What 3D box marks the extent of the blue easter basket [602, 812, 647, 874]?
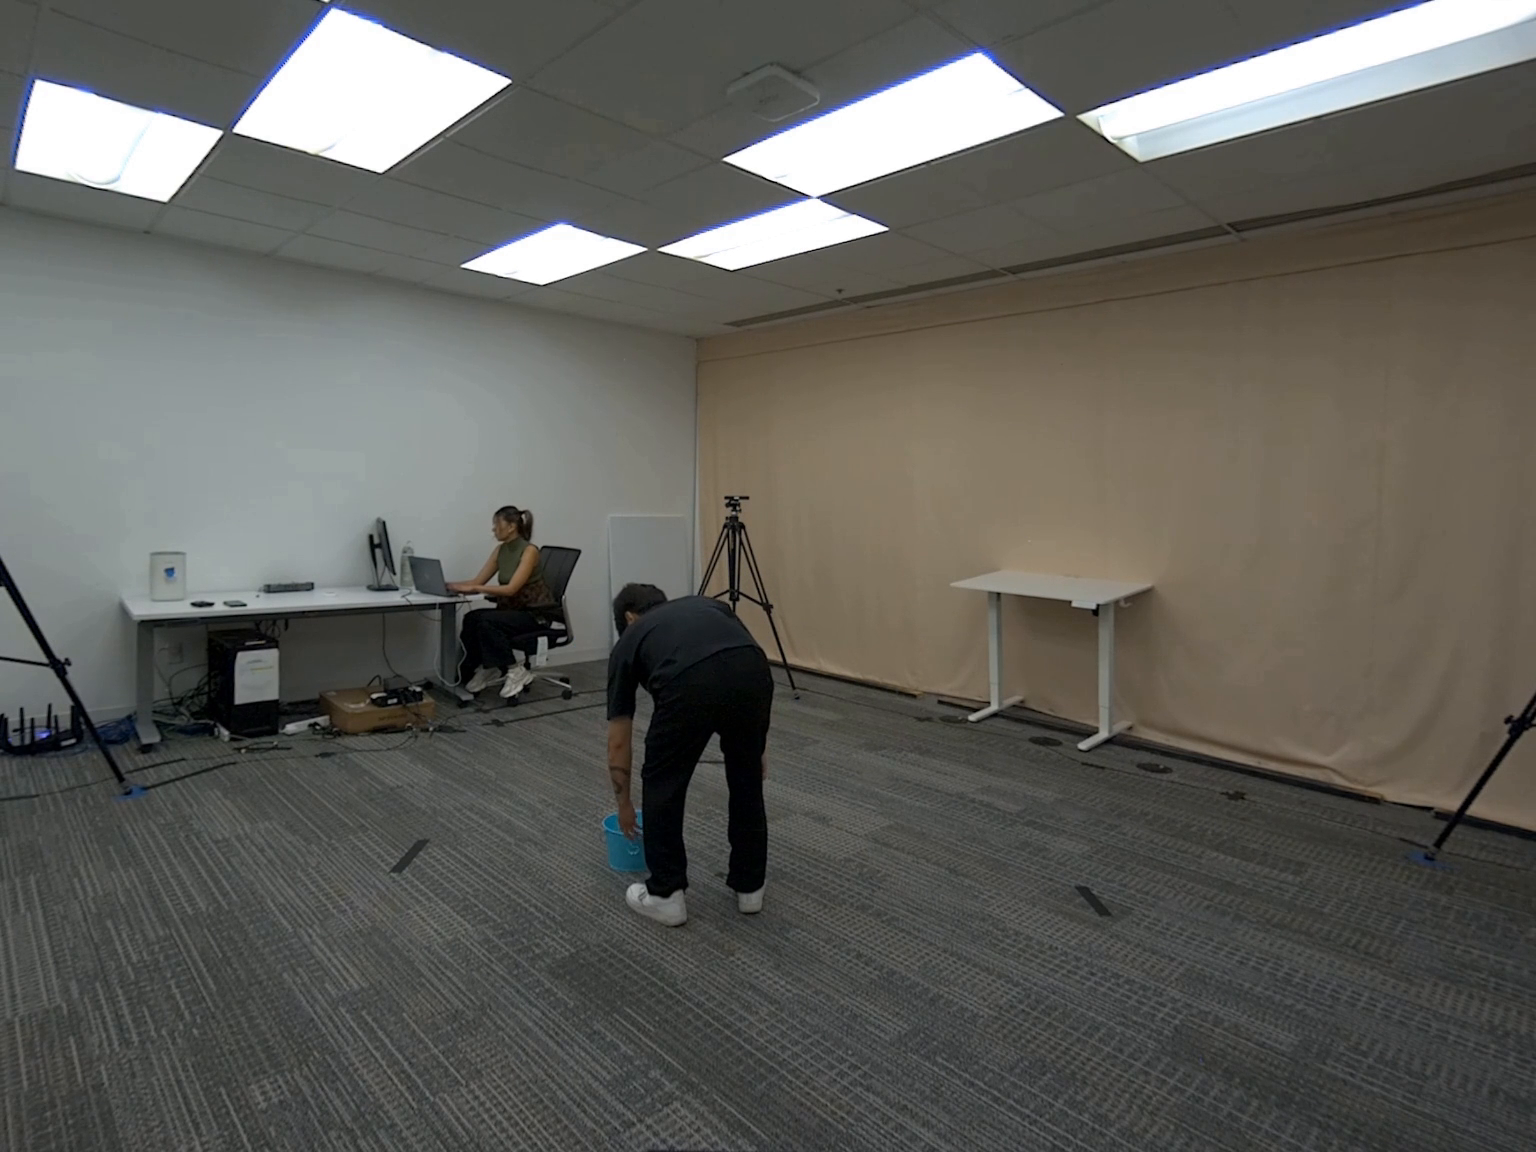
[{"bbox_3d":[-0.522,1.008,3.207,0.243,0.155,0.244,2,5,-2],"label":"blue easter basket"}]
